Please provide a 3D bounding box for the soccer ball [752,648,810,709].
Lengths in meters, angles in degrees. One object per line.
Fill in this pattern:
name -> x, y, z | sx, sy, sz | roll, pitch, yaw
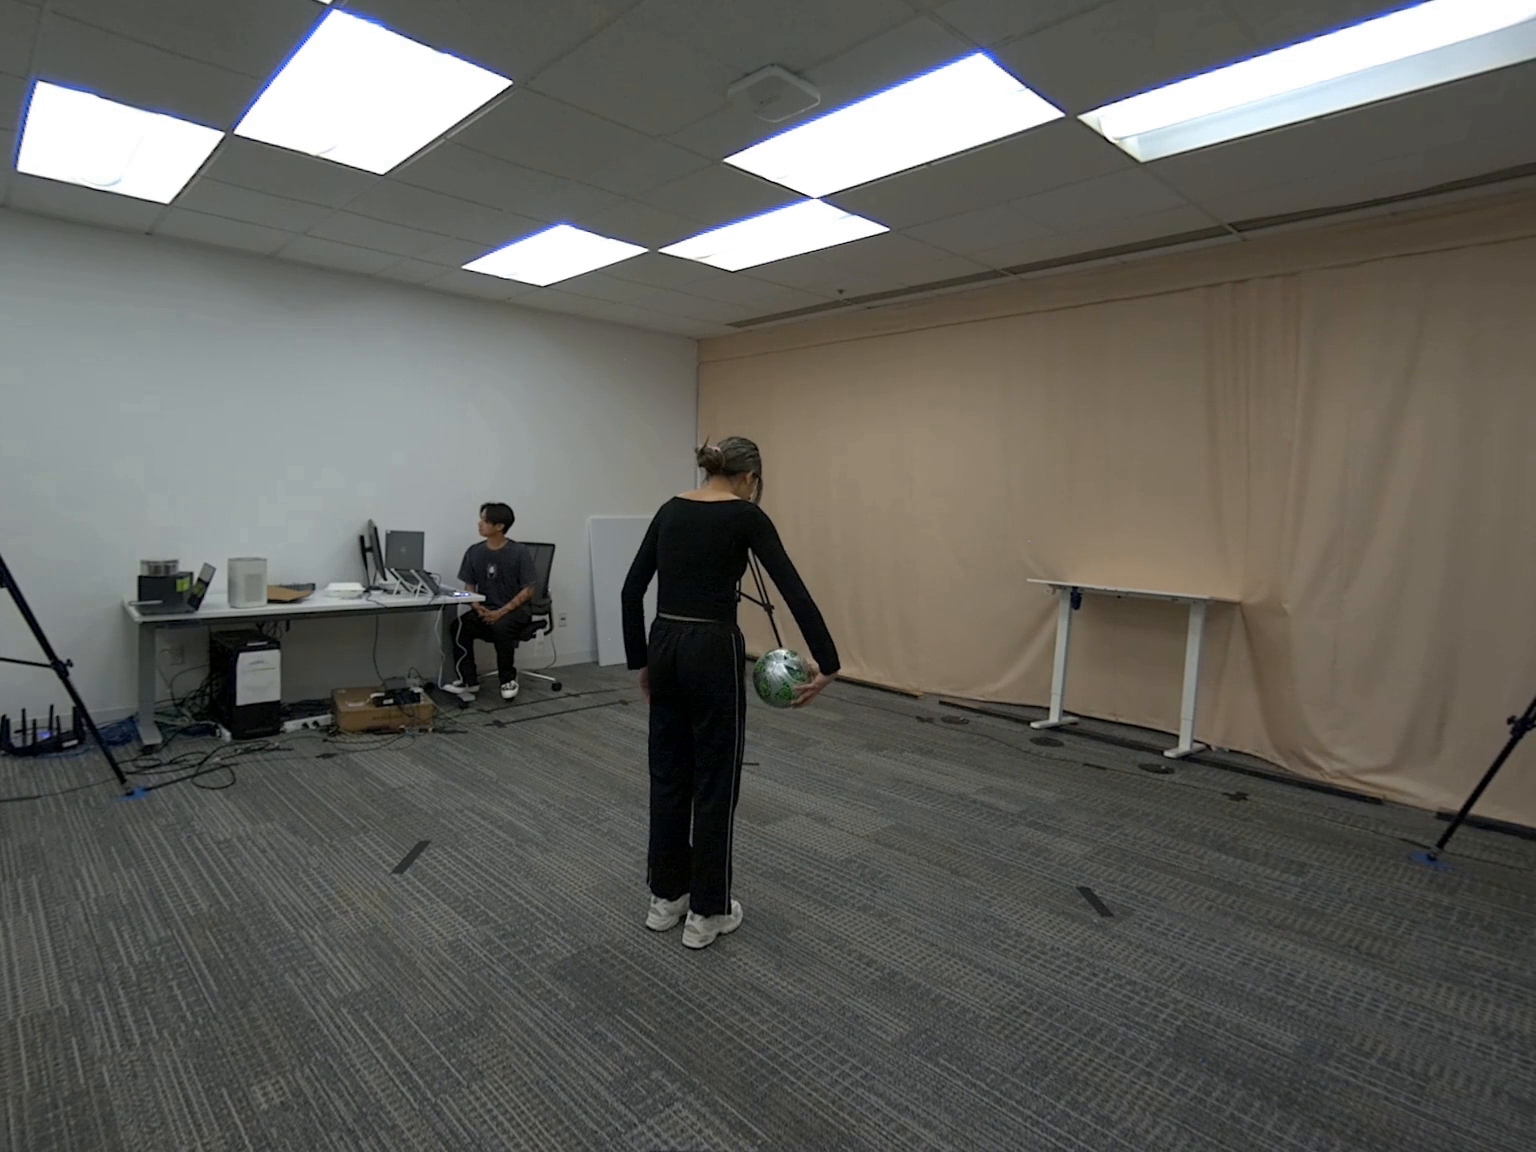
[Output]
soccer ball -> 0.031, 0.328, 2.636 | 0.187, 0.187, 0.188 | 1, 4, -1
